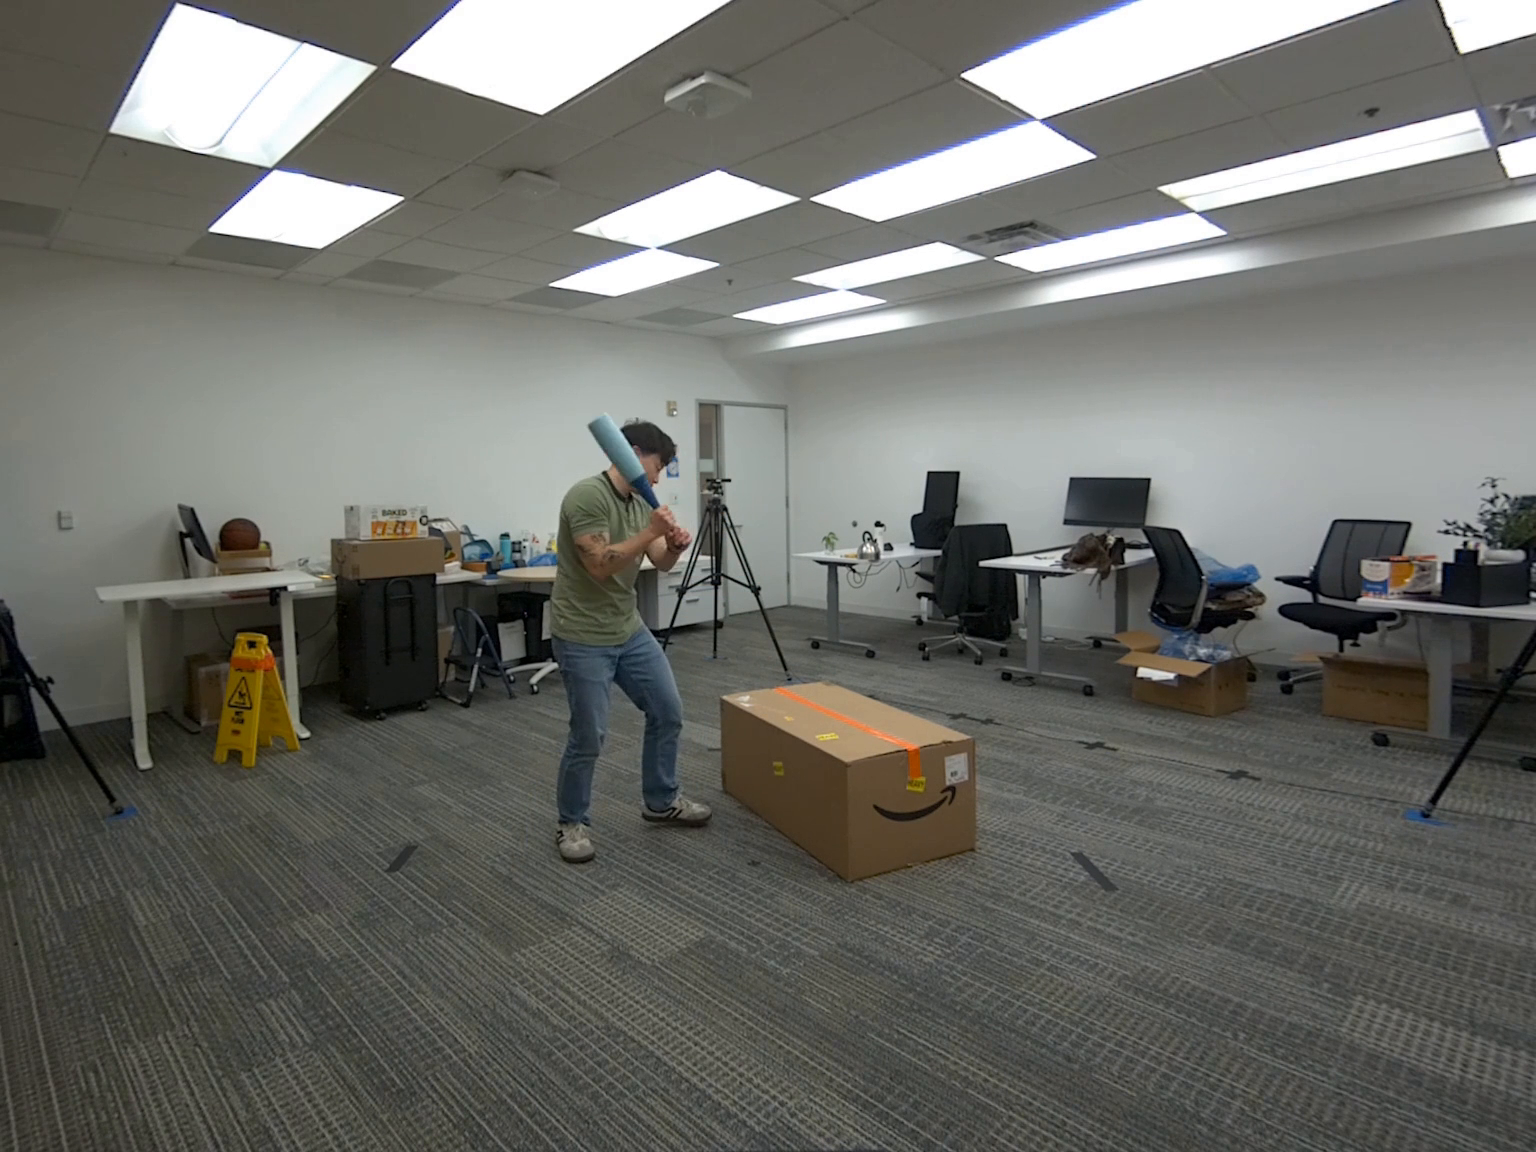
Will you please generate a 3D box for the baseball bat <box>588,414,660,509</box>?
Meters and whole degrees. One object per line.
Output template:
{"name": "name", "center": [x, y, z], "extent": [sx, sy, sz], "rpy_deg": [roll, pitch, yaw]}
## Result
{"name": "baseball bat", "center": [-0.443, -0.324, 3.008], "extent": [0.089, 0.538, 0.090], "rpy_deg": [-33, 7, 4]}
